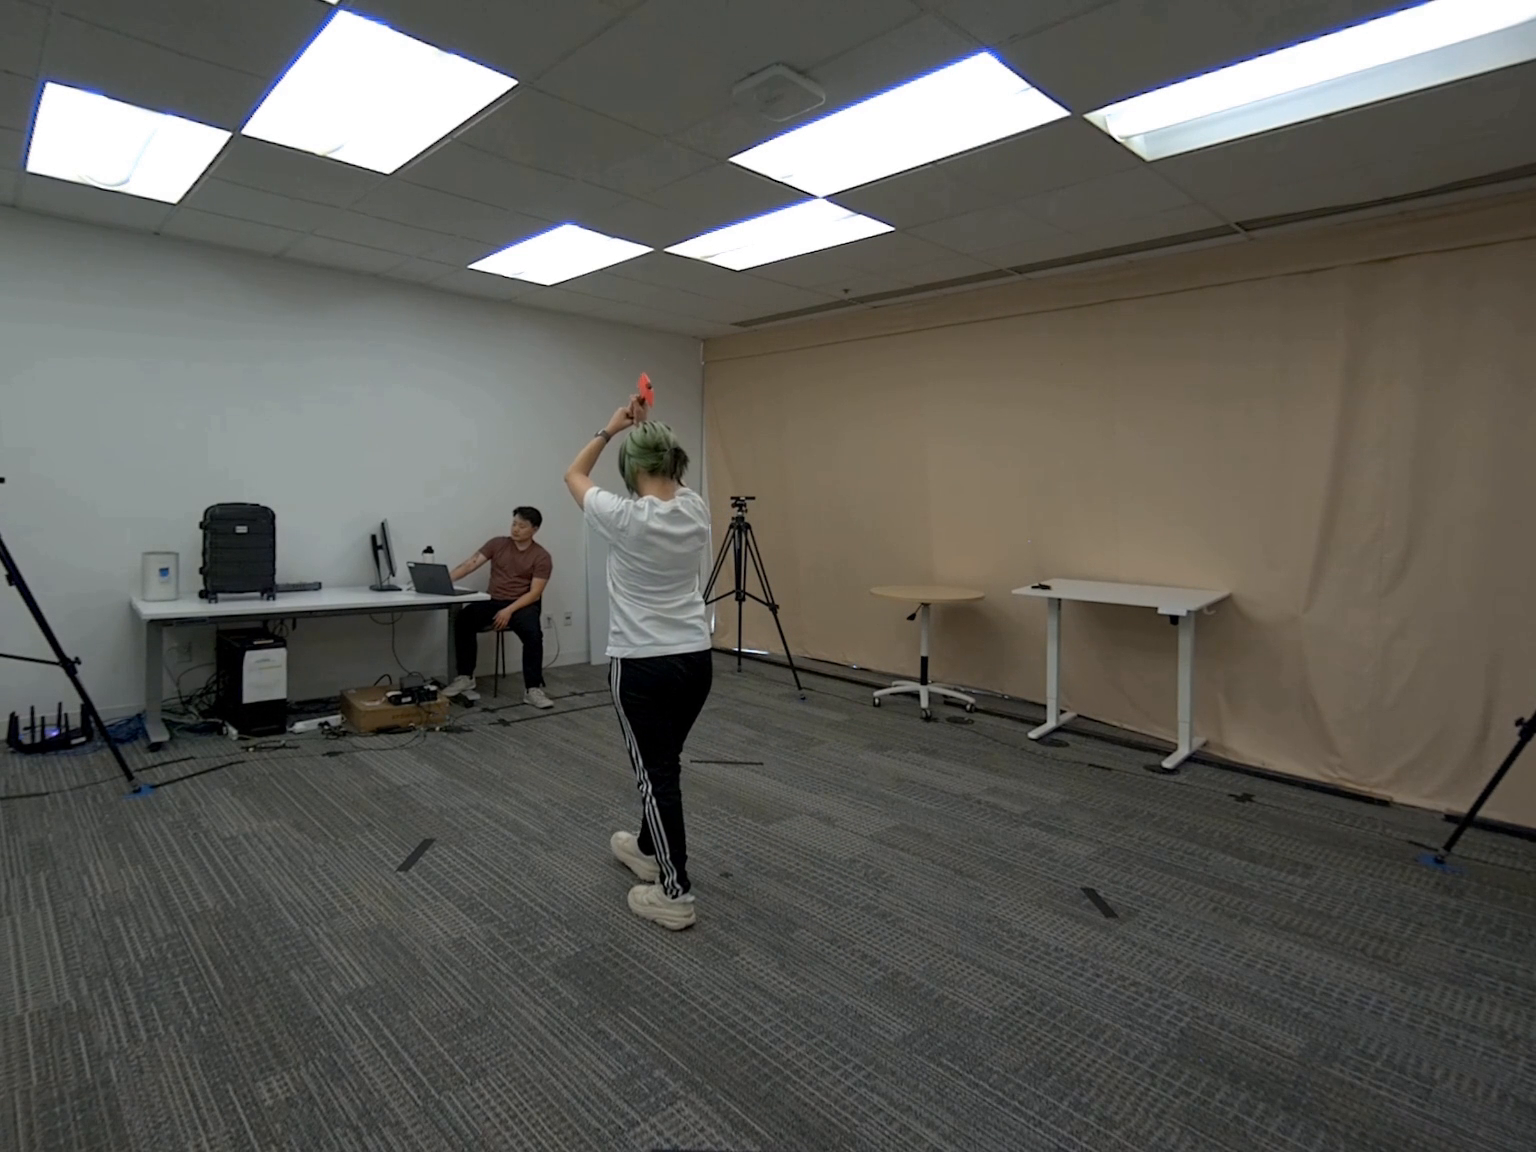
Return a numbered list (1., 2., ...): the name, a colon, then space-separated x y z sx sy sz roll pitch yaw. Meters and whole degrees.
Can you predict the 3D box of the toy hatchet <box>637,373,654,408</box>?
1. toy hatchet: -0.473 -0.621 2.926 0.029 0.131 0.274 -2 -5 -33
